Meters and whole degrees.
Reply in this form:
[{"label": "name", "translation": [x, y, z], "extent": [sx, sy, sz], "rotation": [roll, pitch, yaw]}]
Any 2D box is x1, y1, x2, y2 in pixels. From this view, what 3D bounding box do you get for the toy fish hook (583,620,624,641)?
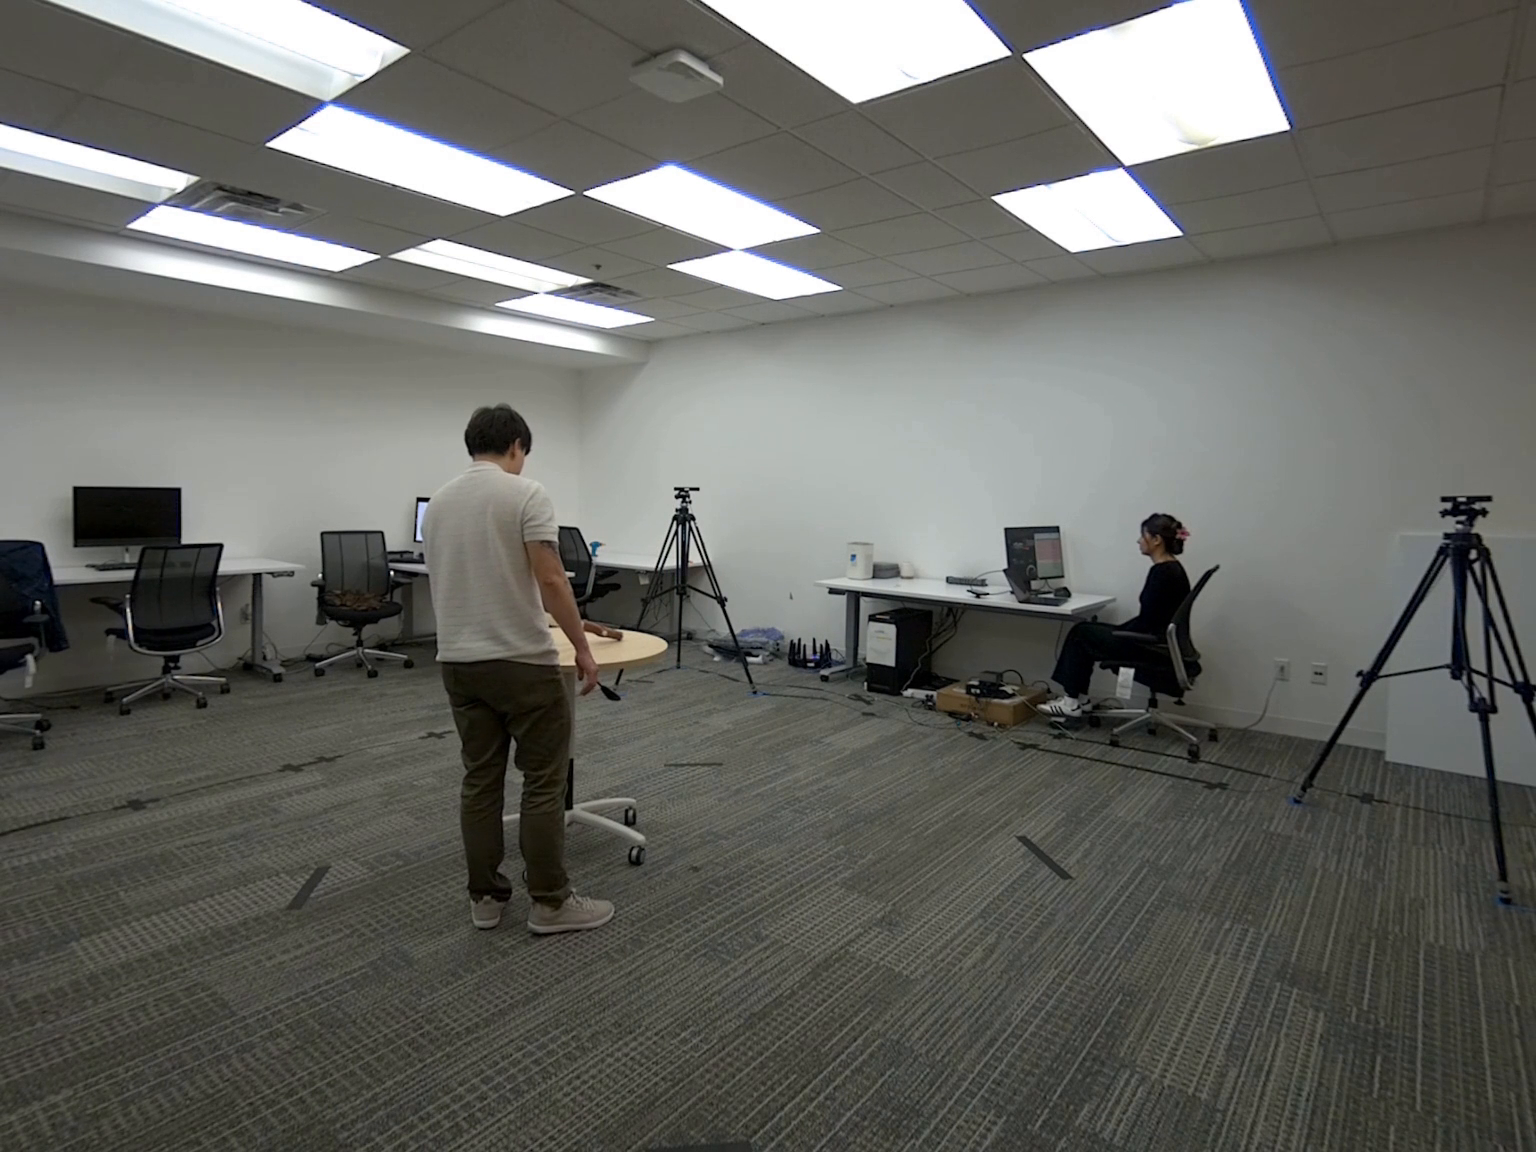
[{"label": "toy fish hook", "translation": [-0.793, 0.158, 3.265], "extent": [0.486, 0.048, 0.234], "rotation": [23, 4, -41]}]
